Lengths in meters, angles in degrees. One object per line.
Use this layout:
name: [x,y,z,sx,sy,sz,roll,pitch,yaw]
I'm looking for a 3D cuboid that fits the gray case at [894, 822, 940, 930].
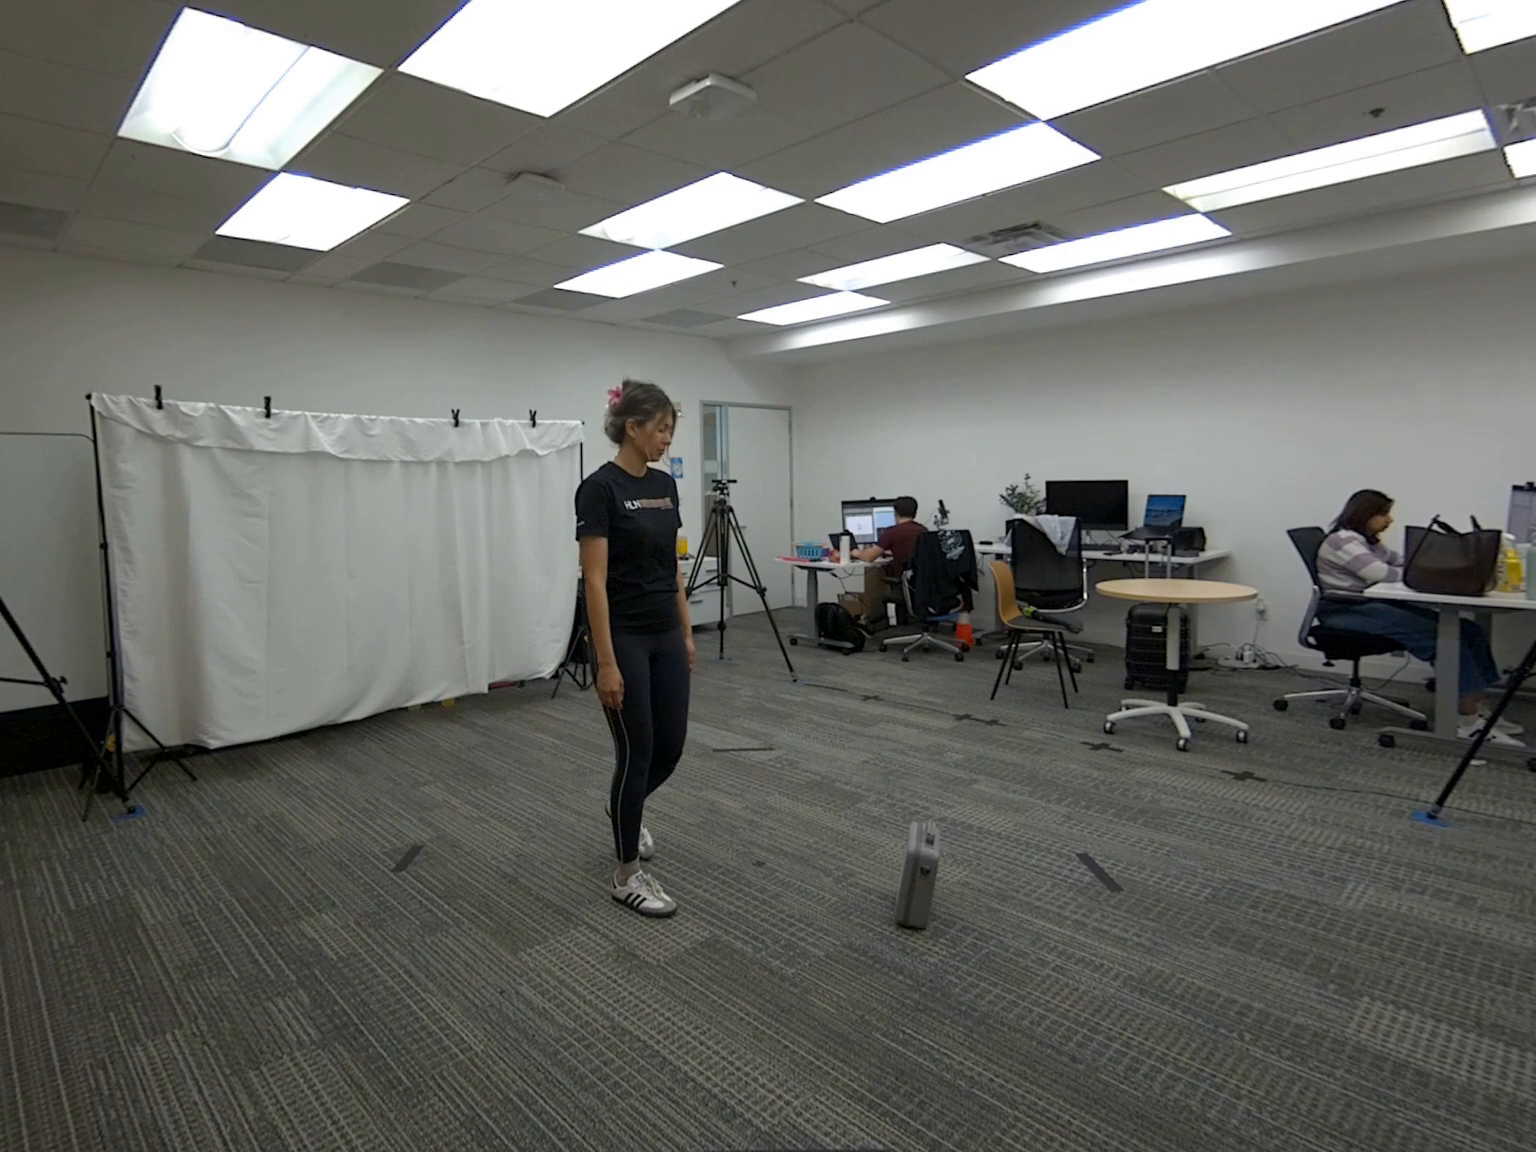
gray case: [0.482,0.944,2.735,0.106,0.259,0.255,11,9,12]
